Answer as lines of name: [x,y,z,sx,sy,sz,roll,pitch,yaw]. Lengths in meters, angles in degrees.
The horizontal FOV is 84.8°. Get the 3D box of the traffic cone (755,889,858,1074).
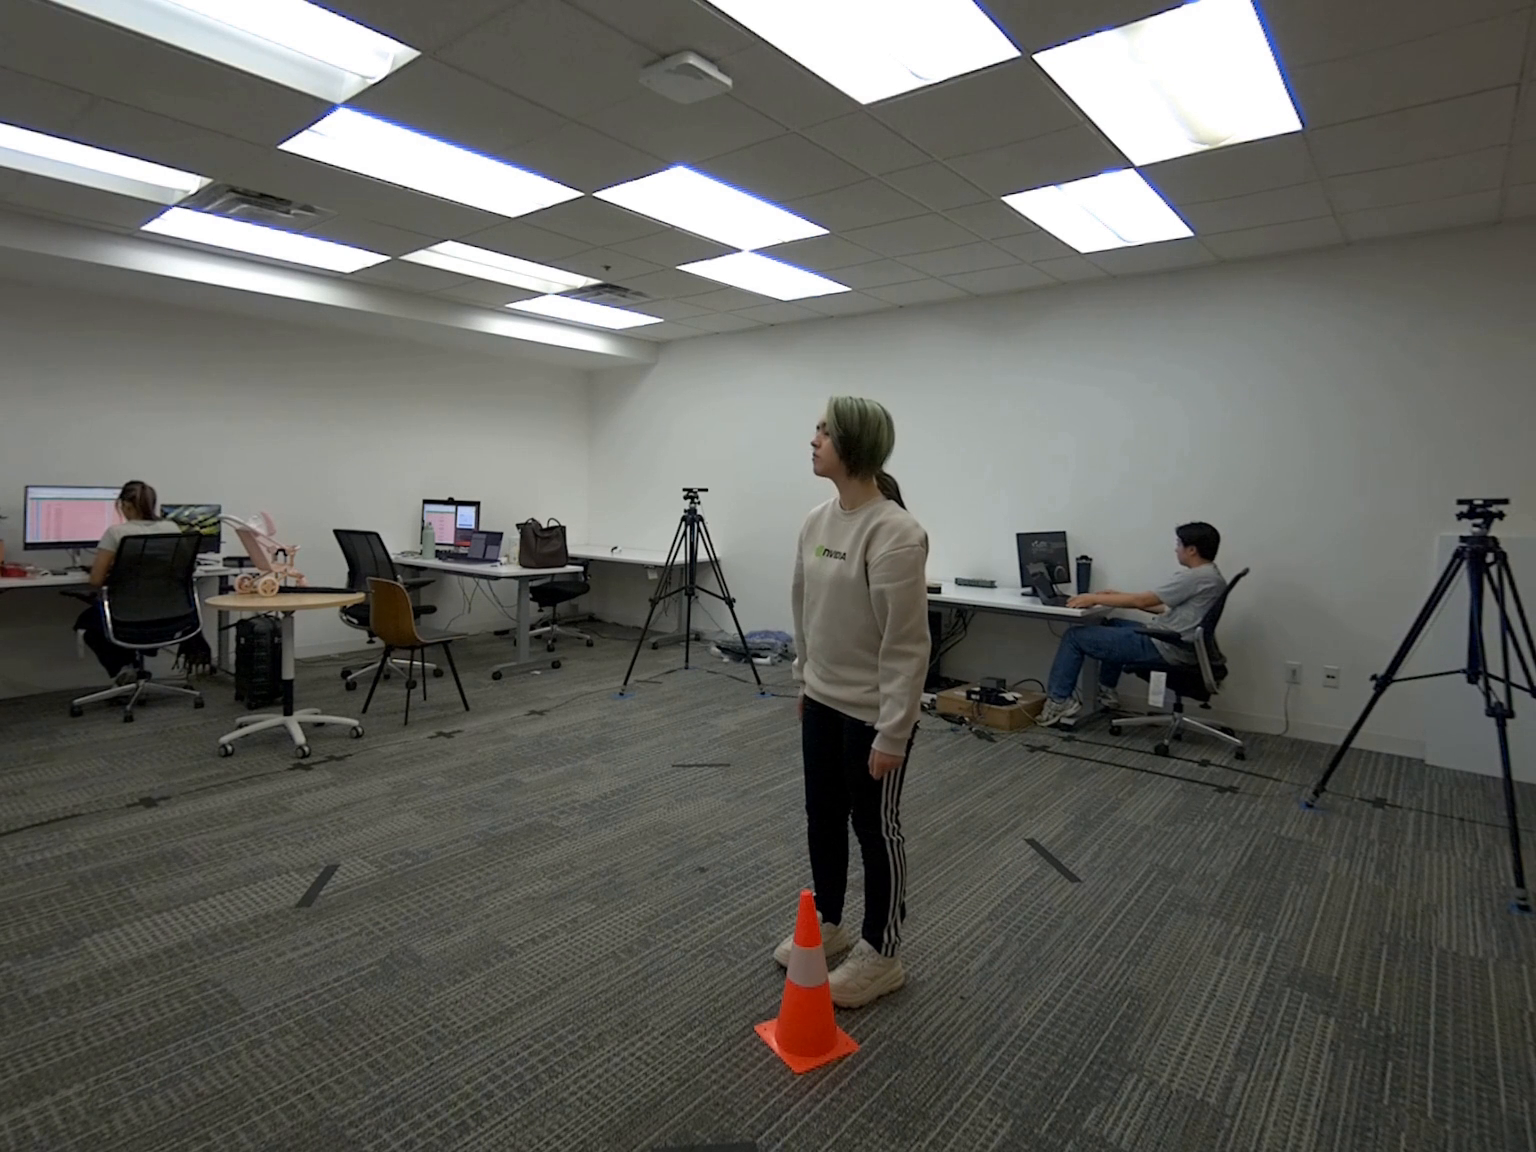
traffic cone: [0.098,0.985,2.155,0.198,0.383,0.210,1,3,-26]
